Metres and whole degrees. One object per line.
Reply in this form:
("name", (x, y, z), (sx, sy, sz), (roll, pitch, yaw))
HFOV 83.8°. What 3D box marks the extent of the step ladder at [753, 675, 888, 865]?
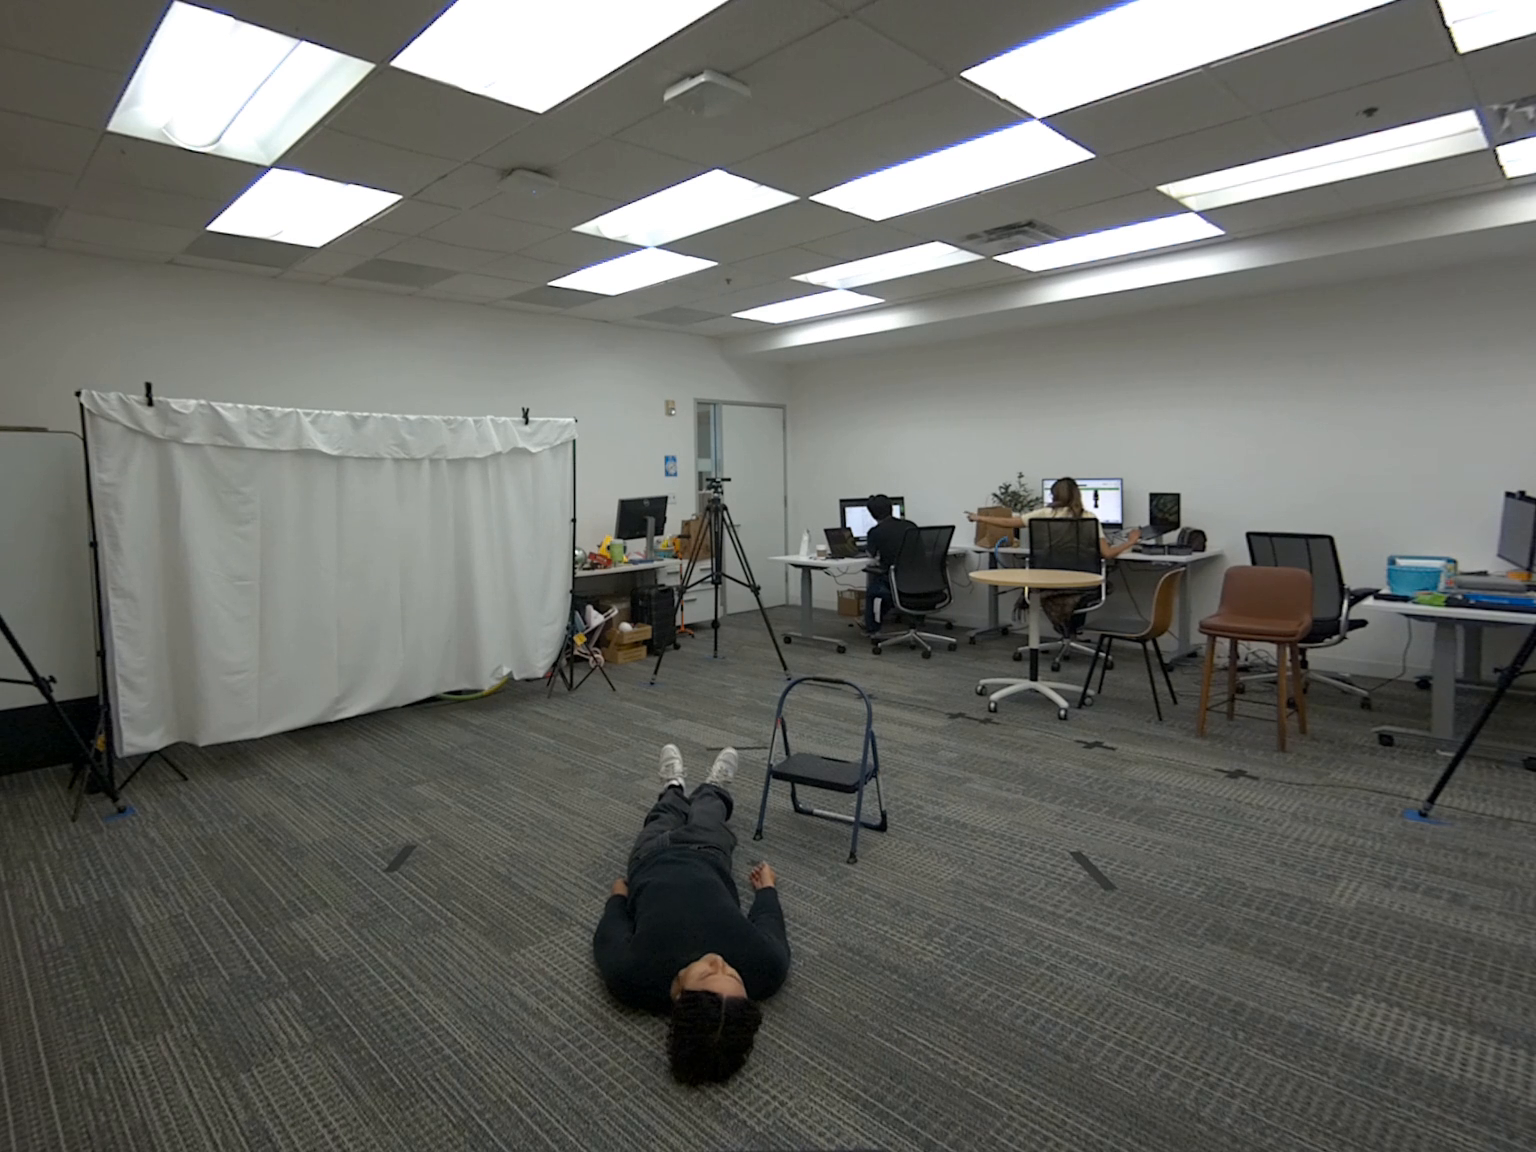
("step ladder", (0.210, 0.709, 3.321), (0.442, 0.604, 0.341), (2, 5, 32))
